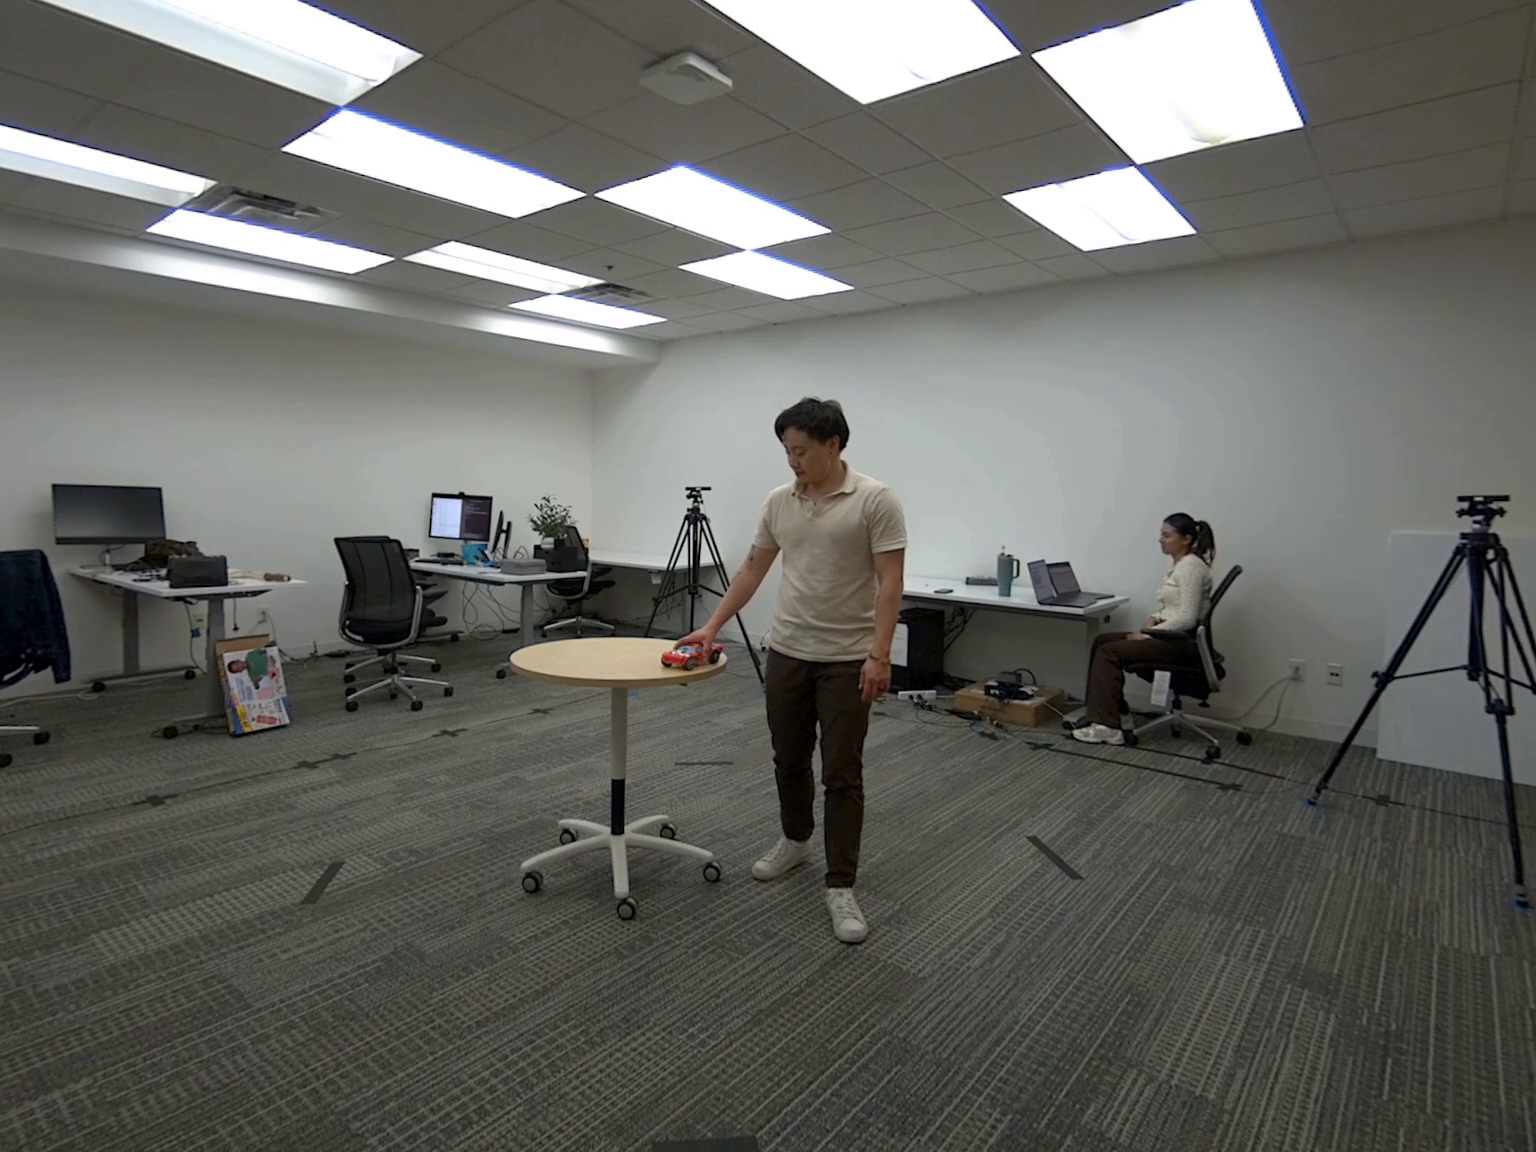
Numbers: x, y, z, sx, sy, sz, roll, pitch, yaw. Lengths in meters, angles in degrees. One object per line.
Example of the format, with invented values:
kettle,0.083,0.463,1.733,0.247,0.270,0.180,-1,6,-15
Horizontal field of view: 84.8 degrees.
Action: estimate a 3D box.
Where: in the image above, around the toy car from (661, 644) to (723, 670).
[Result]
toy car,-0.262,0.271,2.934,0.134,0.082,0.250,4,16,33
